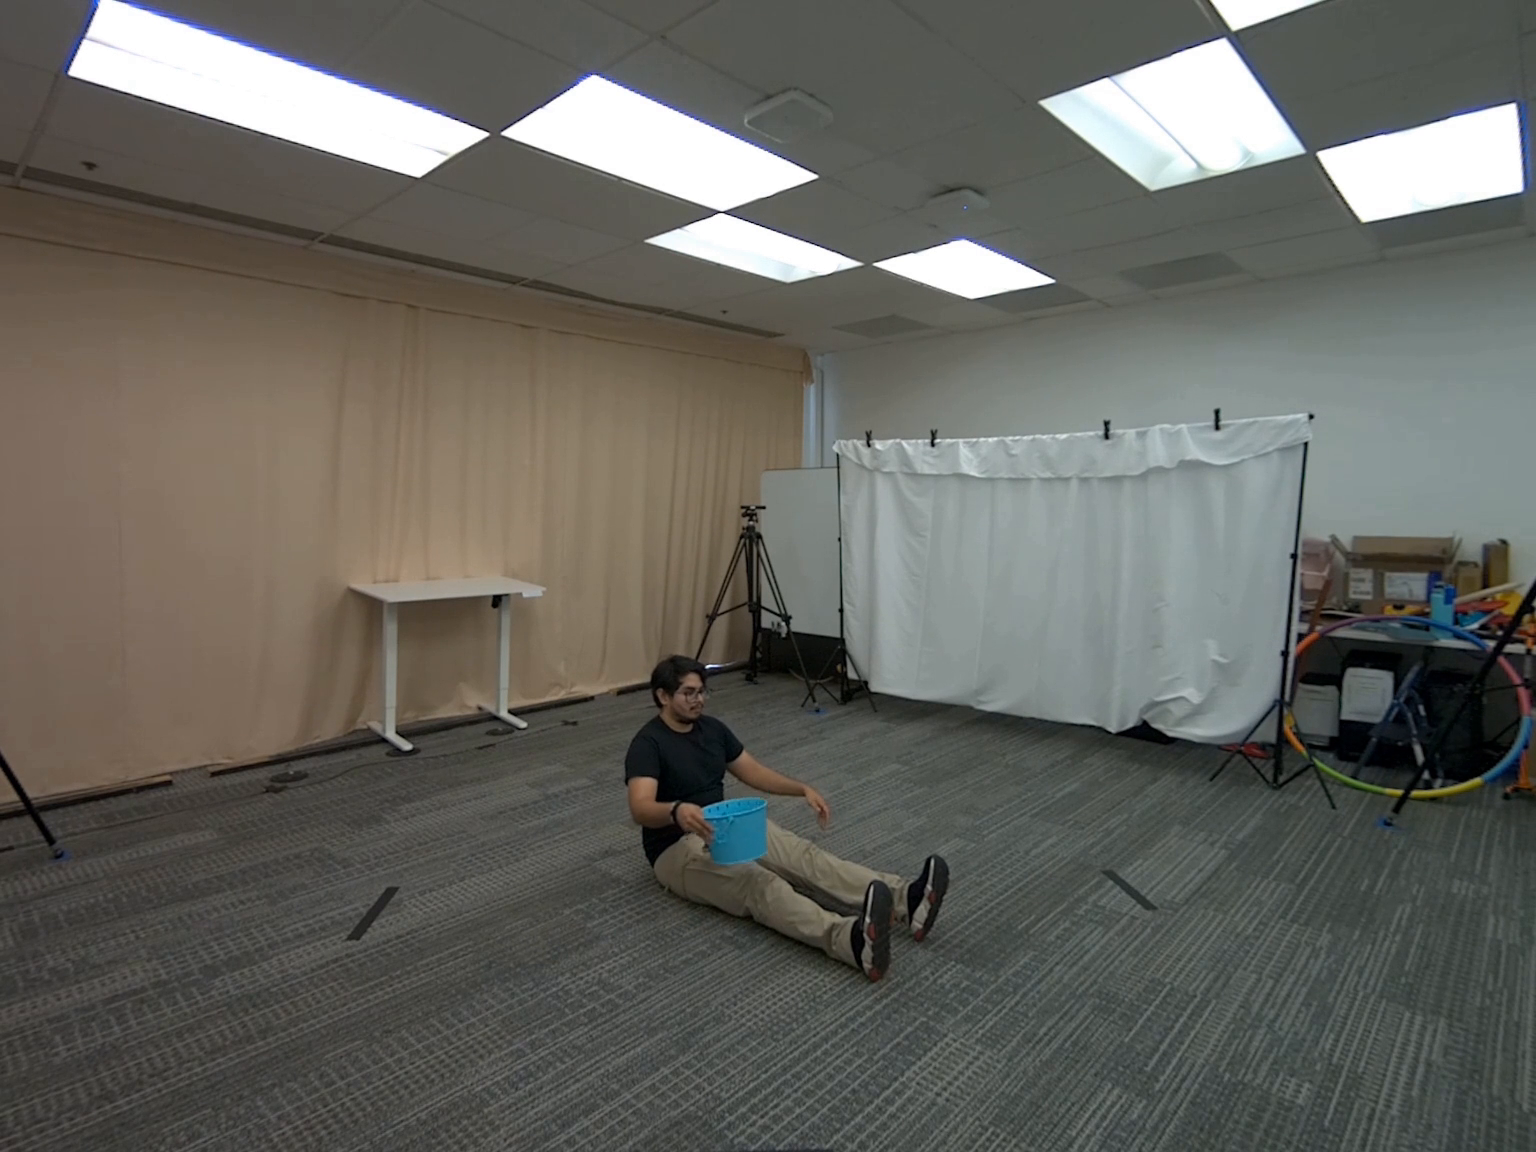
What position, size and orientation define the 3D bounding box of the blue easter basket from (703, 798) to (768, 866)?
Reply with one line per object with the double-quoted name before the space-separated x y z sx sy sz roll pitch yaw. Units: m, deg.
"blue easter basket" -0.119 0.836 2.711 0.243 0.156 0.243 -9 -3 -2
